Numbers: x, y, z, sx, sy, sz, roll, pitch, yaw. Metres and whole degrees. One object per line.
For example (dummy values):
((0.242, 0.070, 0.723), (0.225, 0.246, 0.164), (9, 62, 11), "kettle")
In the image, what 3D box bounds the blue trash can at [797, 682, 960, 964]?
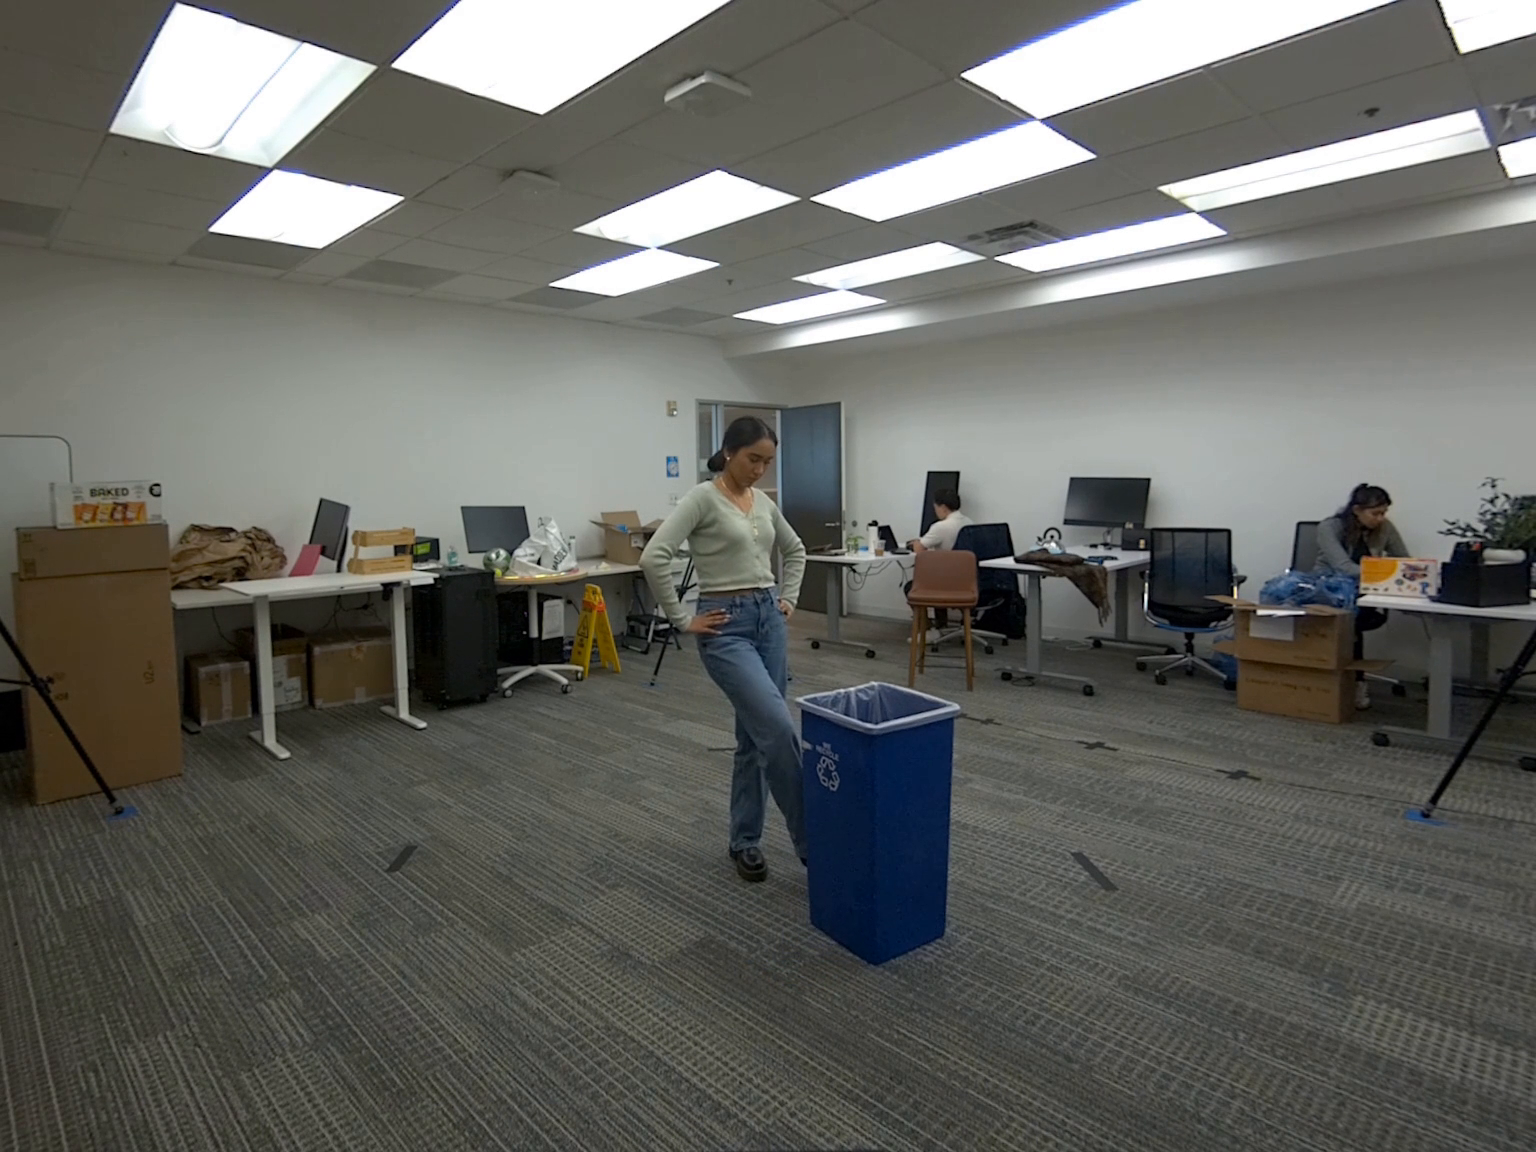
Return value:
((0.333, 0.736, 2.603), (0.365, 0.710, 0.389), (-4, 6, -35), "blue trash can")
